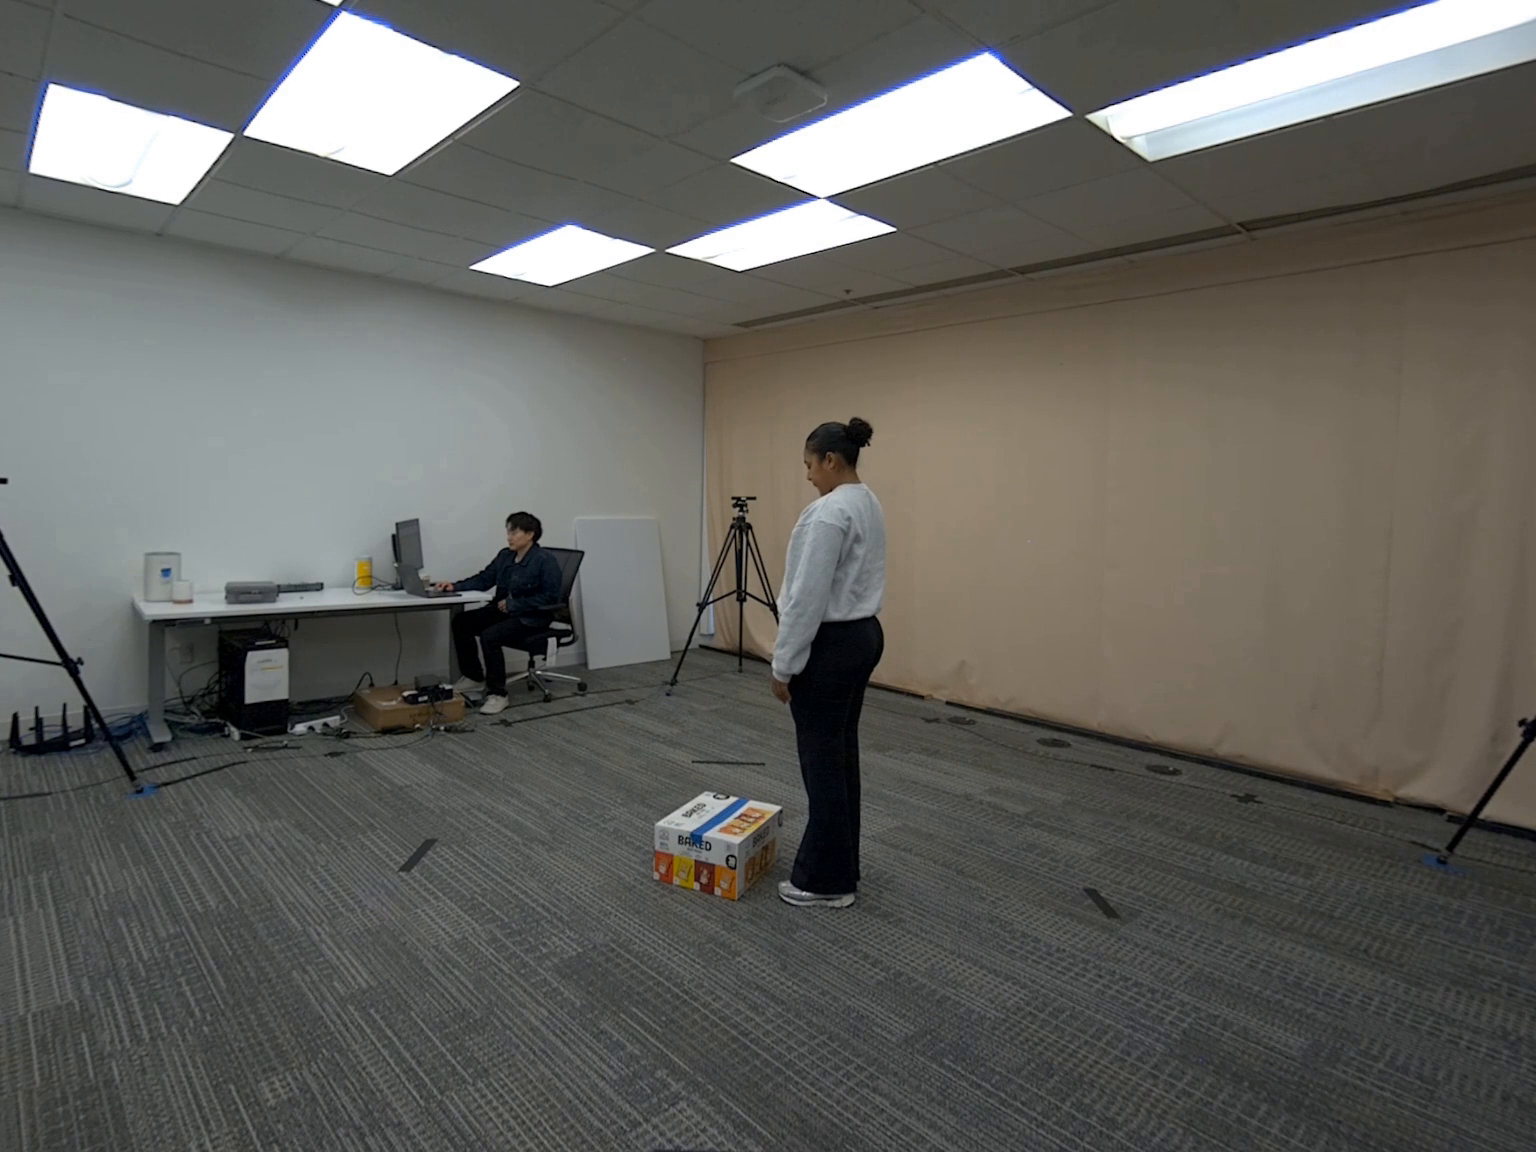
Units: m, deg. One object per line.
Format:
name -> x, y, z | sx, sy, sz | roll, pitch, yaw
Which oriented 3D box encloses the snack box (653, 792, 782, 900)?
snack box -> -0.188, 0.999, 3.160 | 0.347, 0.205, 0.398 | 4, 6, 25
